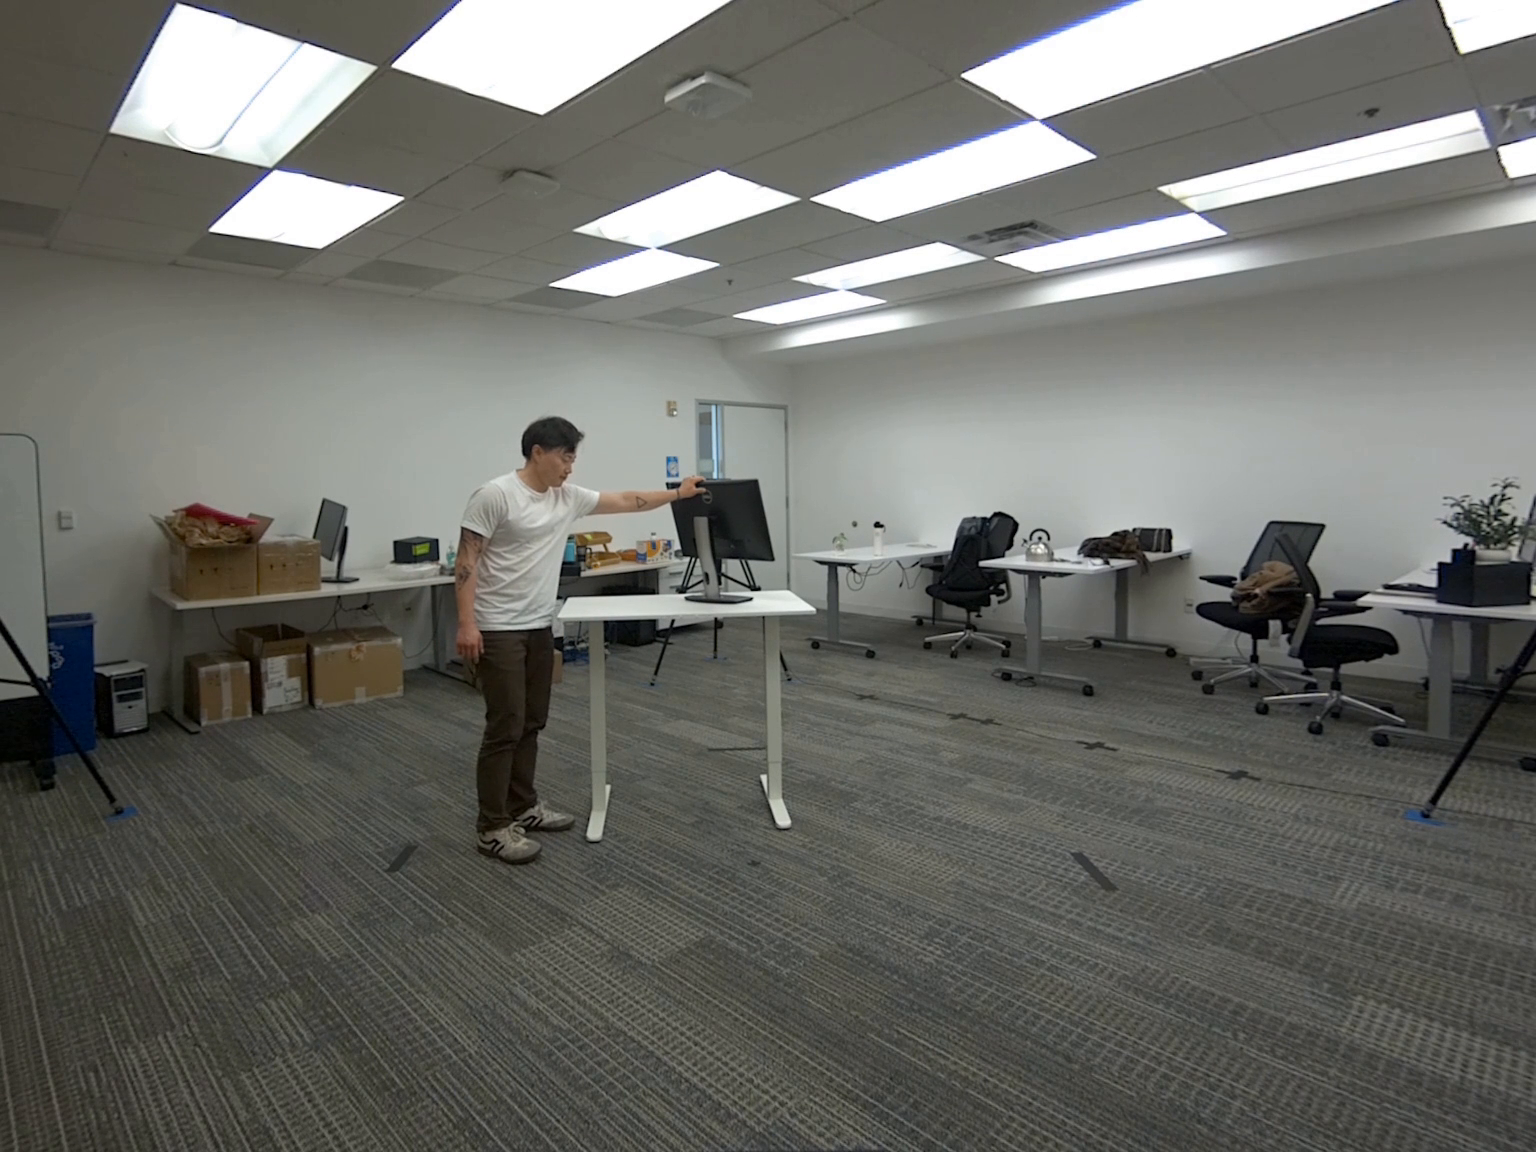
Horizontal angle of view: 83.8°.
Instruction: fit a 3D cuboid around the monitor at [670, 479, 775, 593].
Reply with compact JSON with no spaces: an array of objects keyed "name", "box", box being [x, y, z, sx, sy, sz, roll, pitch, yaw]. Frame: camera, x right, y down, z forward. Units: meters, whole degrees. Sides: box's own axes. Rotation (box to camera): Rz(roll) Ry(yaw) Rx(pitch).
[{"name":"monitor","box":[-0.230,-0.146,3.646,0.555,0.520,0.182,3,6,40]}]
